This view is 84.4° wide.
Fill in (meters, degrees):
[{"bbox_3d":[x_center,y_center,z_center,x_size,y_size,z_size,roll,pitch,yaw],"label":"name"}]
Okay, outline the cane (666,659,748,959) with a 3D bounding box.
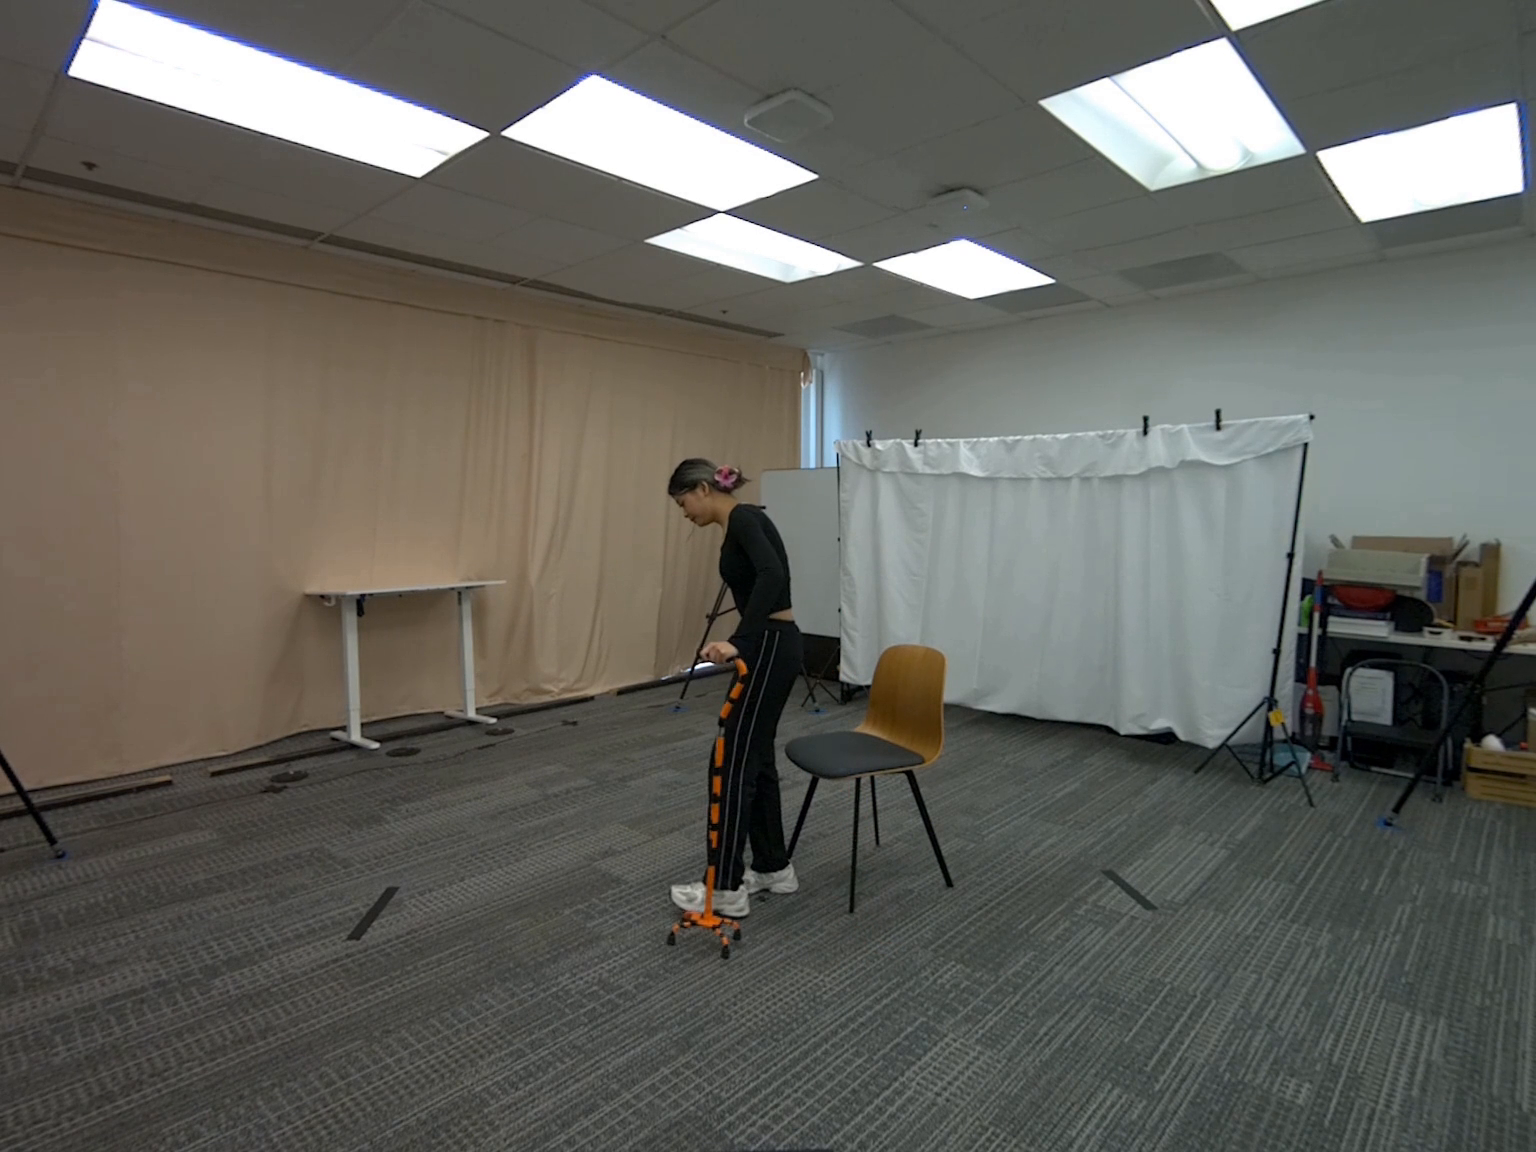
[{"bbox_3d":[-0.156,0.692,2.609,0.210,0.906,0.149,5,3,13],"label":"cane"}]
